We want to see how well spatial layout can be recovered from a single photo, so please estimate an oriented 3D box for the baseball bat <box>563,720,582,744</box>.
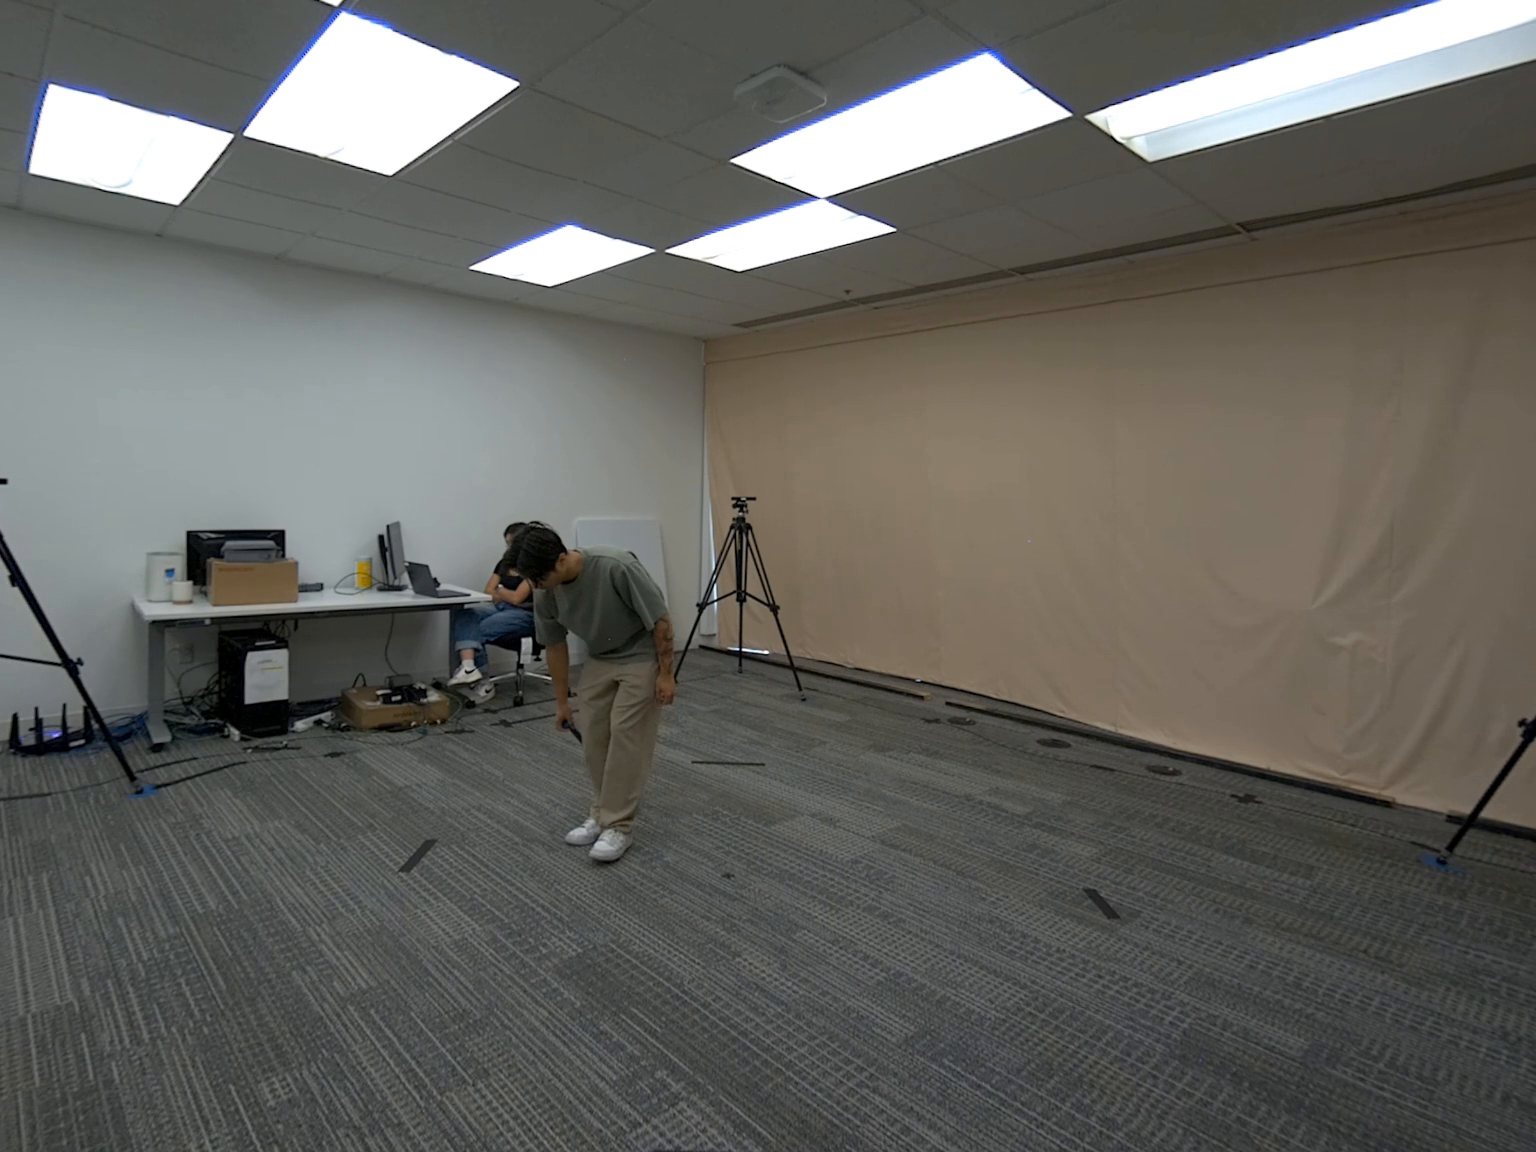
[{"bbox_3d":[-0.732,0.824,3.650,0.089,0.530,0.091,-26,27,13],"label":"baseball bat"}]
